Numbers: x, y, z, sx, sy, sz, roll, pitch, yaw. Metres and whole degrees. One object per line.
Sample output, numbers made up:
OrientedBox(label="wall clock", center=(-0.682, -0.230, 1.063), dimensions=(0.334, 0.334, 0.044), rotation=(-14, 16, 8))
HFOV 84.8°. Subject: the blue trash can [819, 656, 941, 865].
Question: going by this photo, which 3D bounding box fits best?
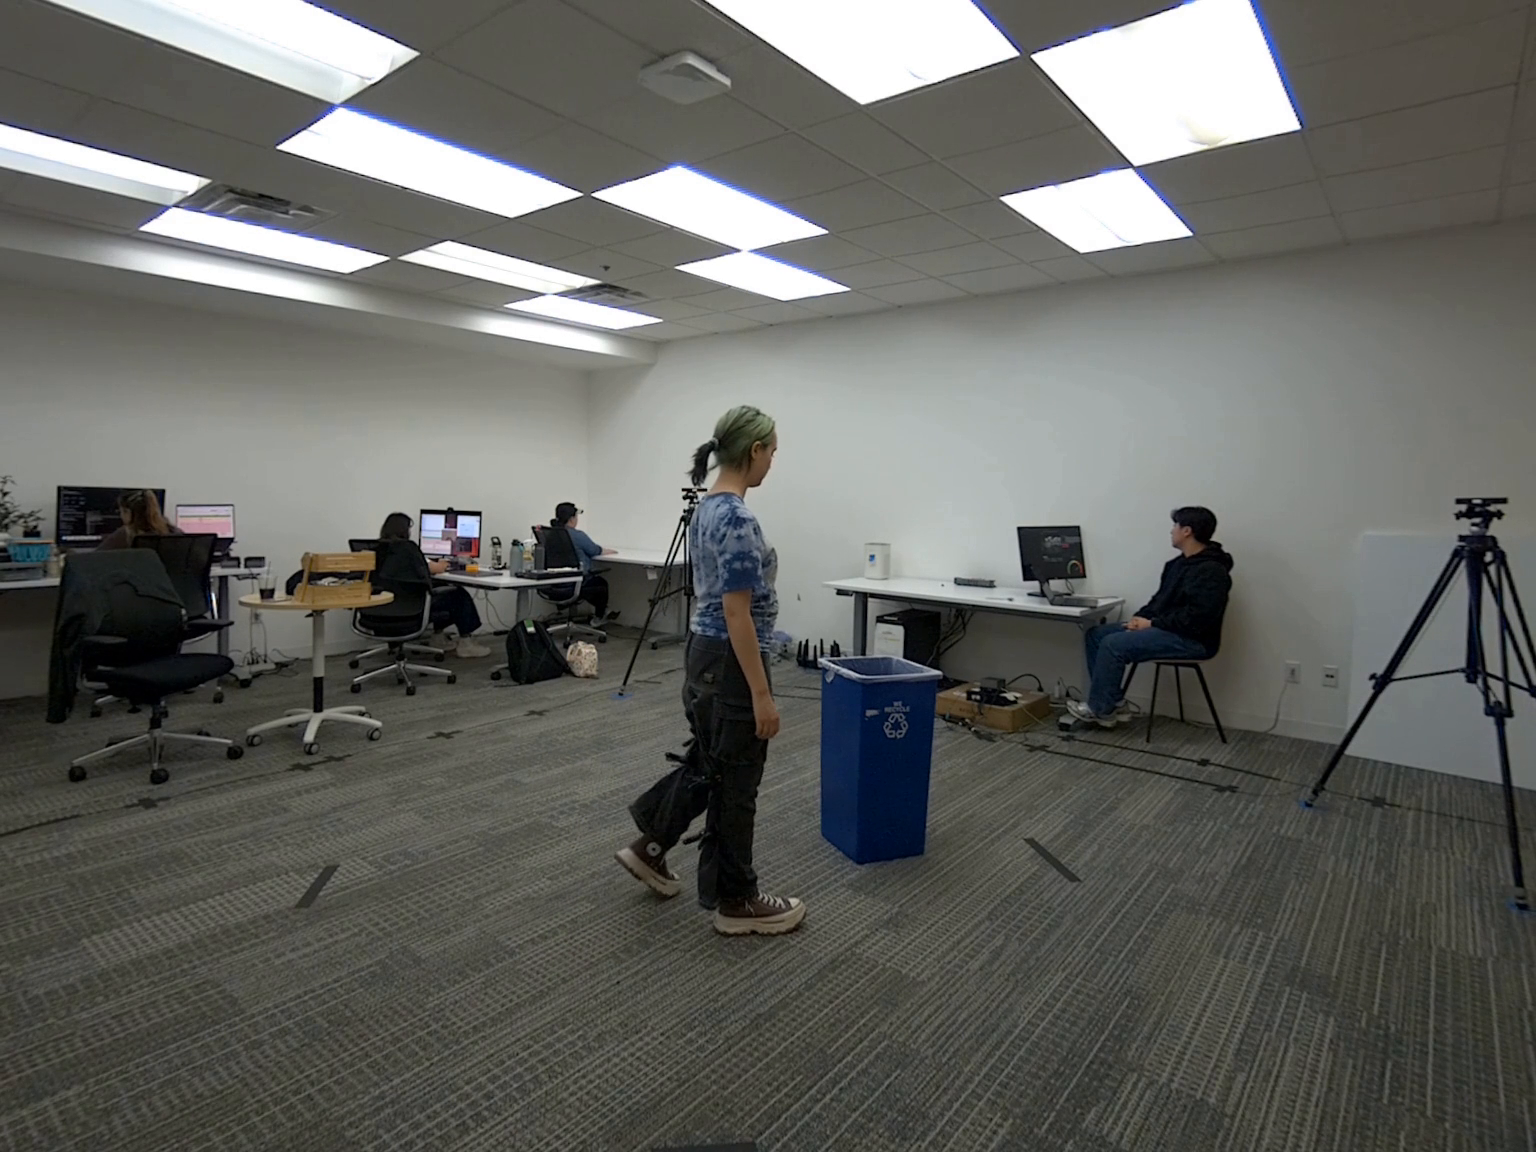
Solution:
OrientedBox(label="blue trash can", center=(0.419, 0.703, 3.353), dimensions=(0.366, 0.711, 0.388), rotation=(0, 4, -23))
